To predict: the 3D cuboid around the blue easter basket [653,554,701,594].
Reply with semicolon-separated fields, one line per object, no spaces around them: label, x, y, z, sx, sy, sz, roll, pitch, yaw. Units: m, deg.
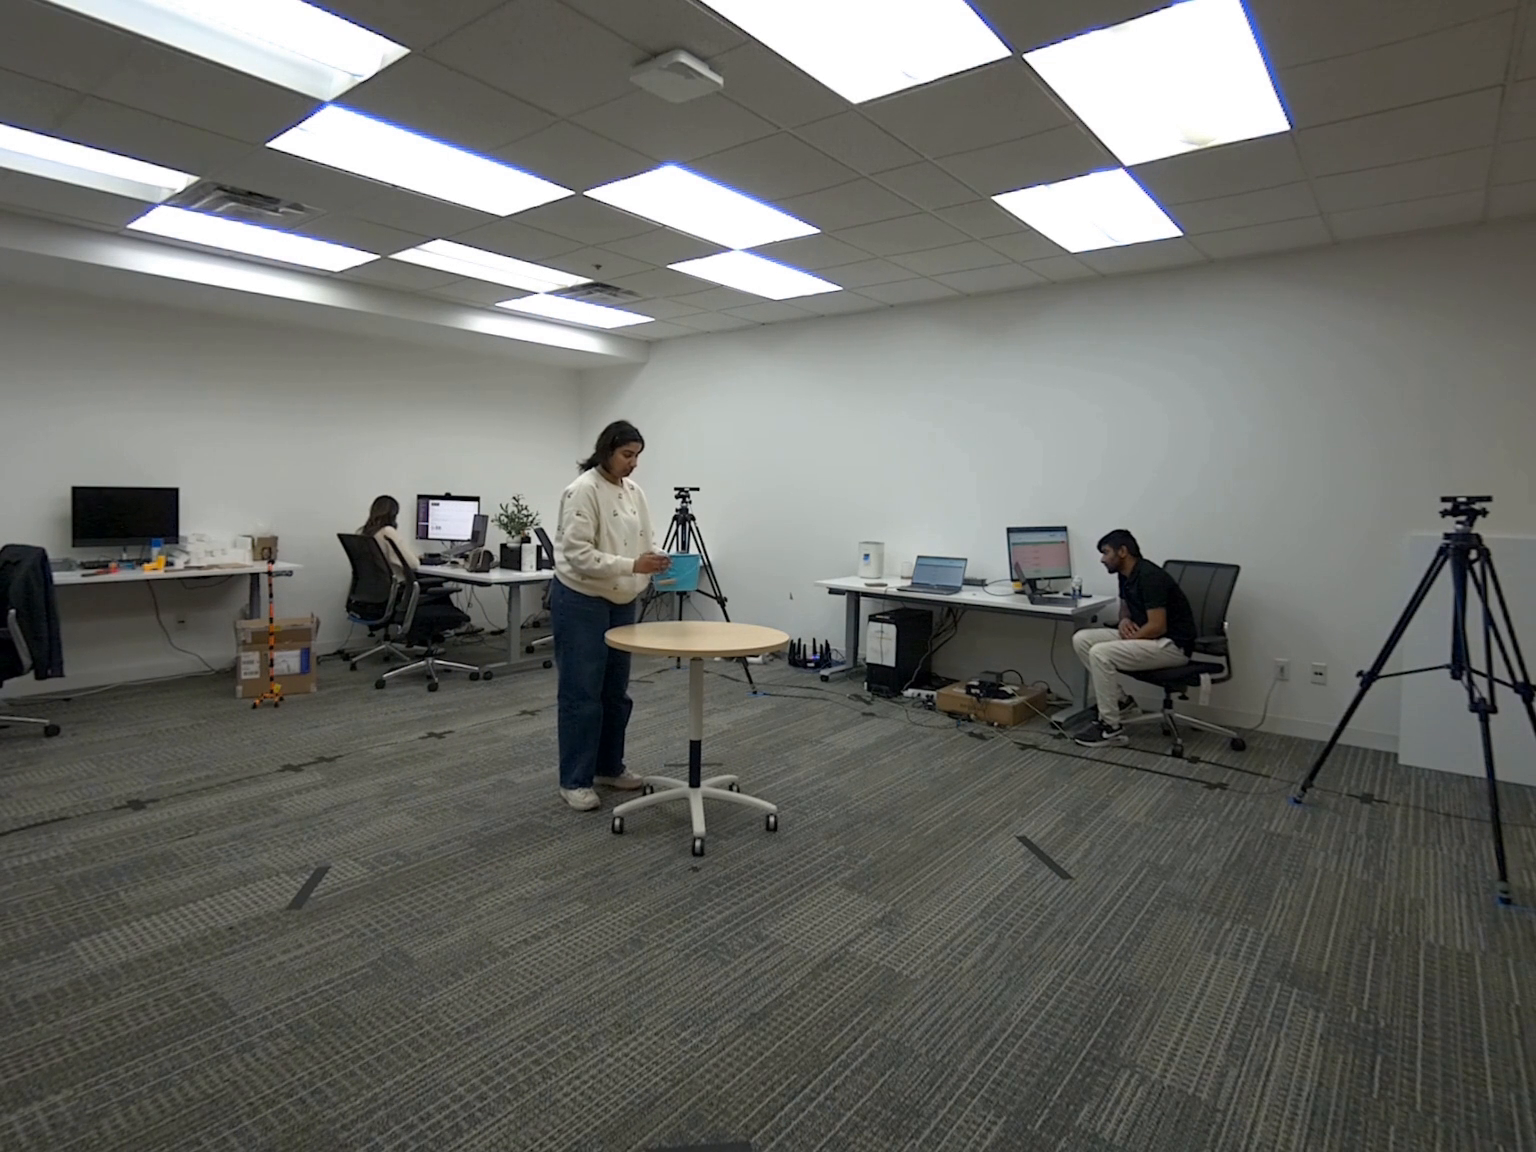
blue easter basket;-0.426;-0.018;3.659;0.243;0.156;0.244;-1;1;-2
